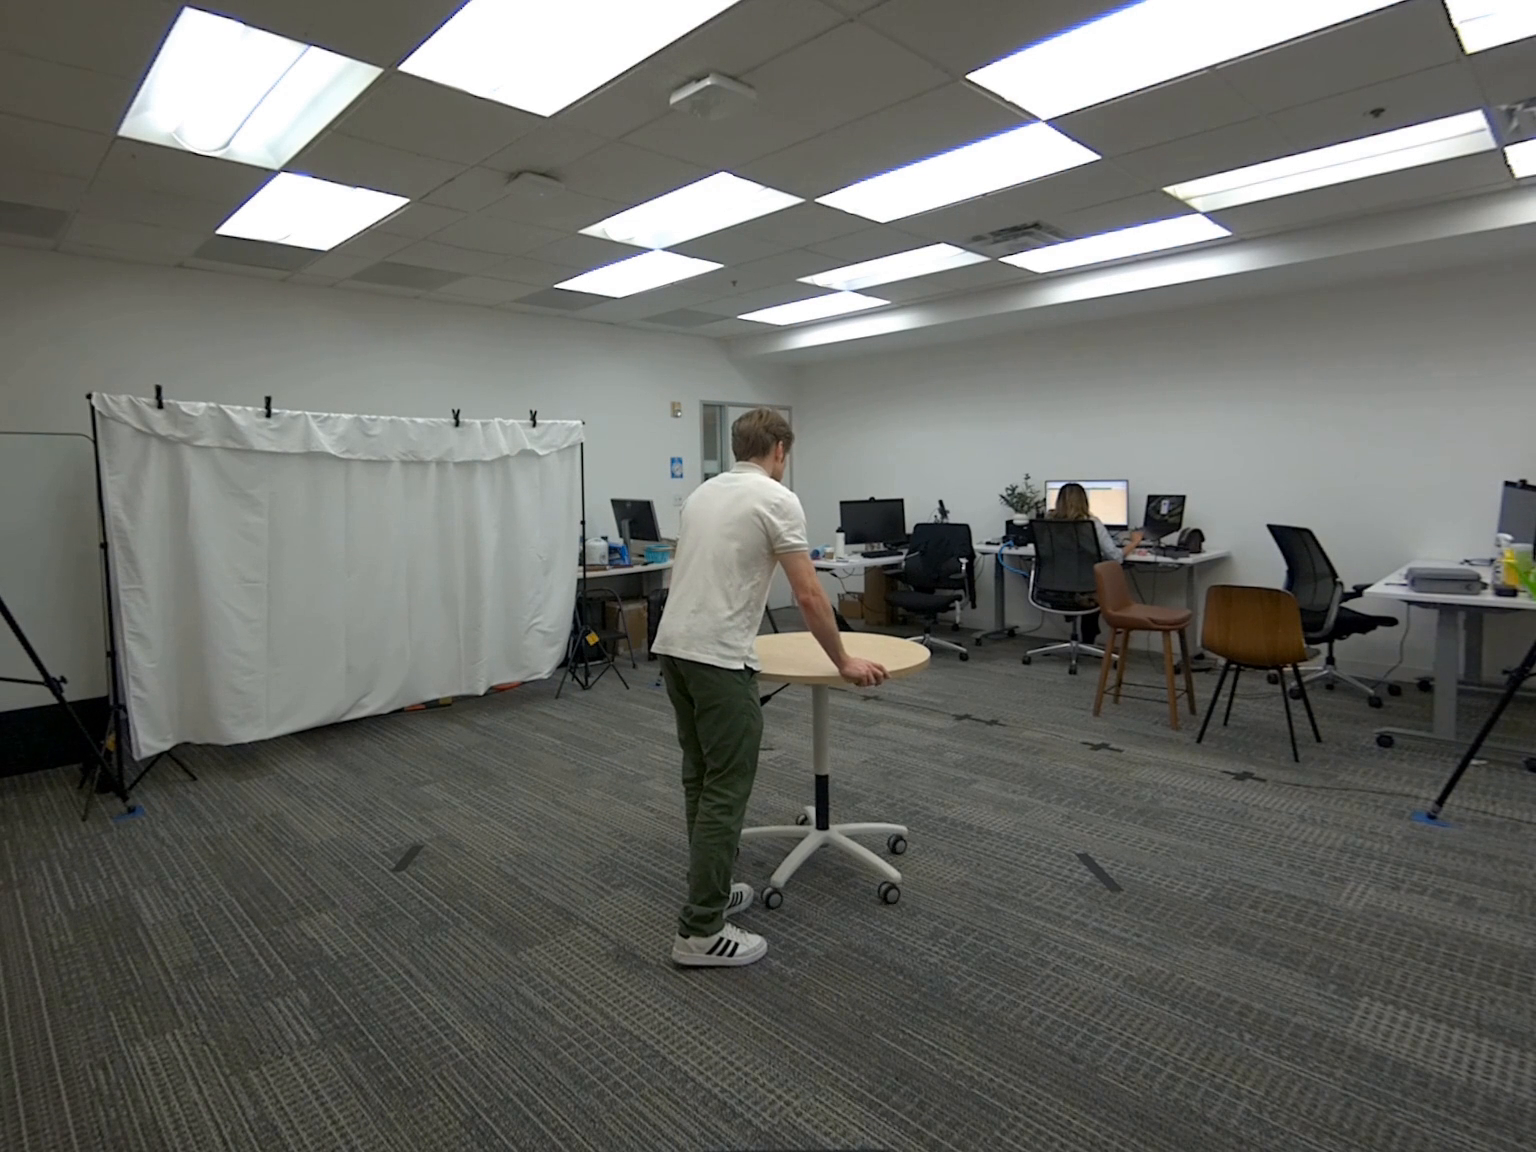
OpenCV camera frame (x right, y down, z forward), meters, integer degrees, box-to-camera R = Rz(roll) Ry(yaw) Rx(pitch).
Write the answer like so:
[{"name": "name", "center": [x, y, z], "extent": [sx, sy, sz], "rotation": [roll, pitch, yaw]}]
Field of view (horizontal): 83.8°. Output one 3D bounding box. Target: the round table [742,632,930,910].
[{"name": "round table", "center": [0.195, 0.658, 3.063], "extent": [0.763, 0.791, 0.768], "rotation": [-1, 5, -2]}]
